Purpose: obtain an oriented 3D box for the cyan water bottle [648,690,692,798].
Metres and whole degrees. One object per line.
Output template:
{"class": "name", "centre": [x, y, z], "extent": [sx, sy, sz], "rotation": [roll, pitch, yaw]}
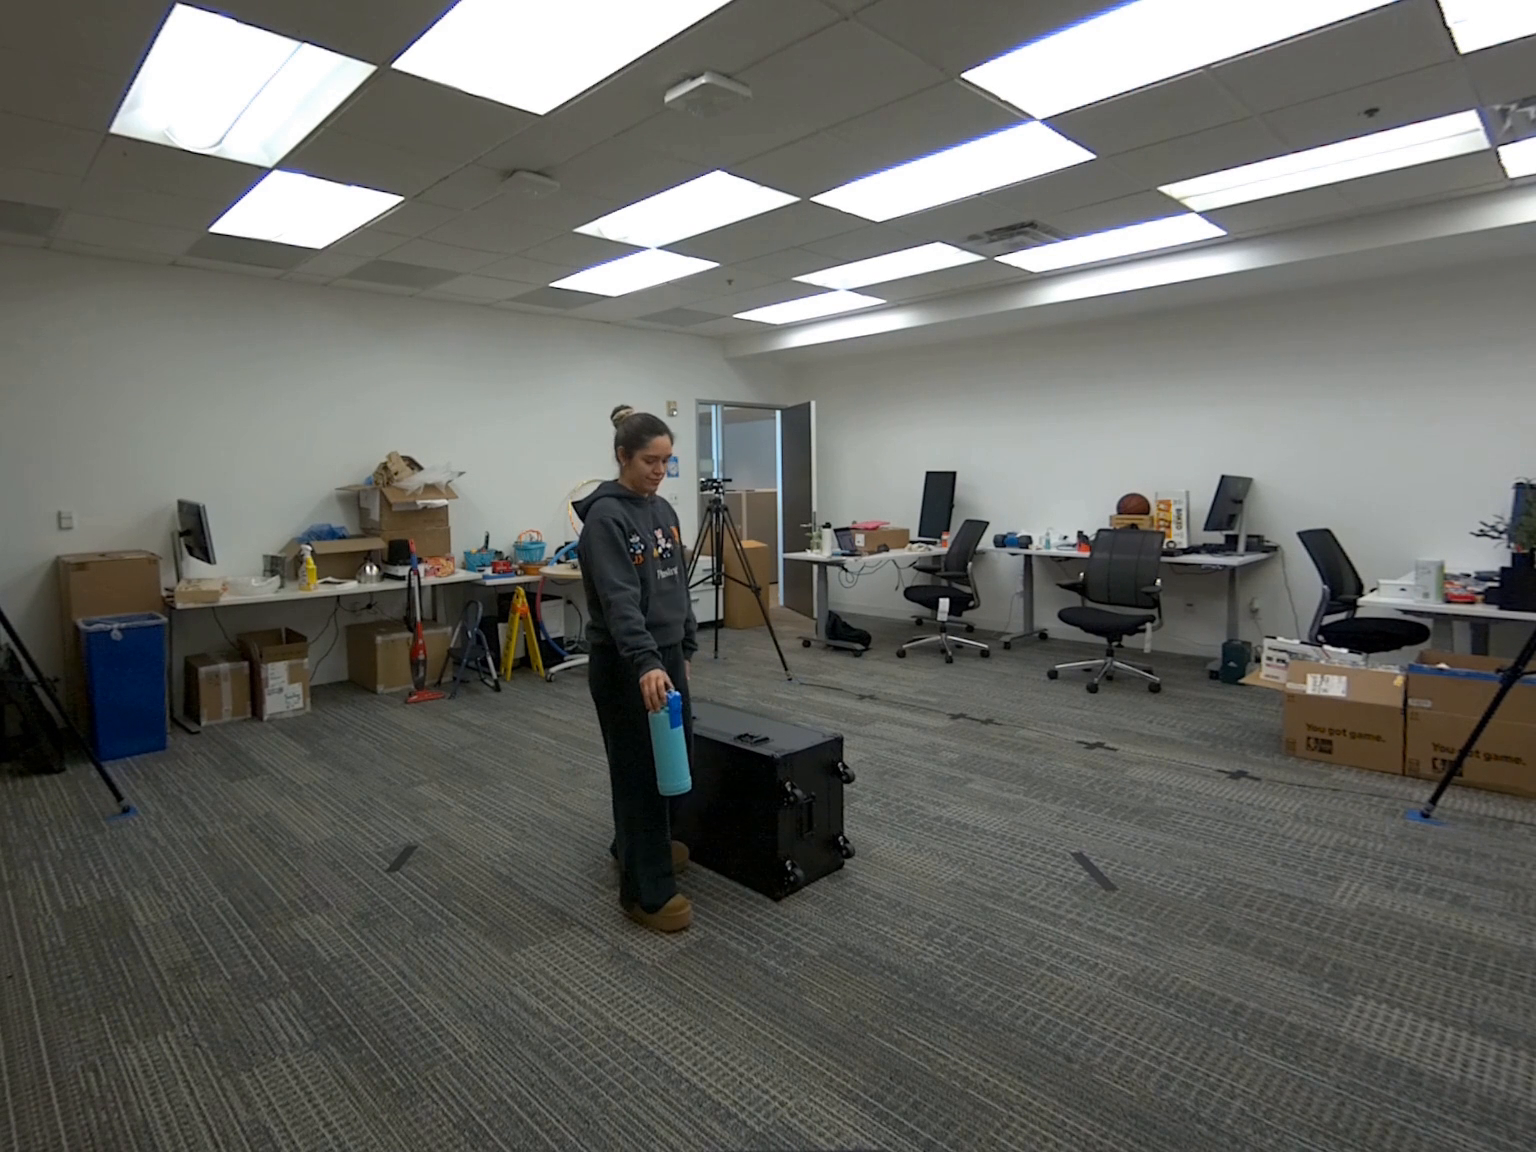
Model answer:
{"class": "cyan water bottle", "centre": [-0.264, 0.440, 2.297], "extent": [0.092, 0.284, 0.092], "rotation": [-6, -1, -2]}
